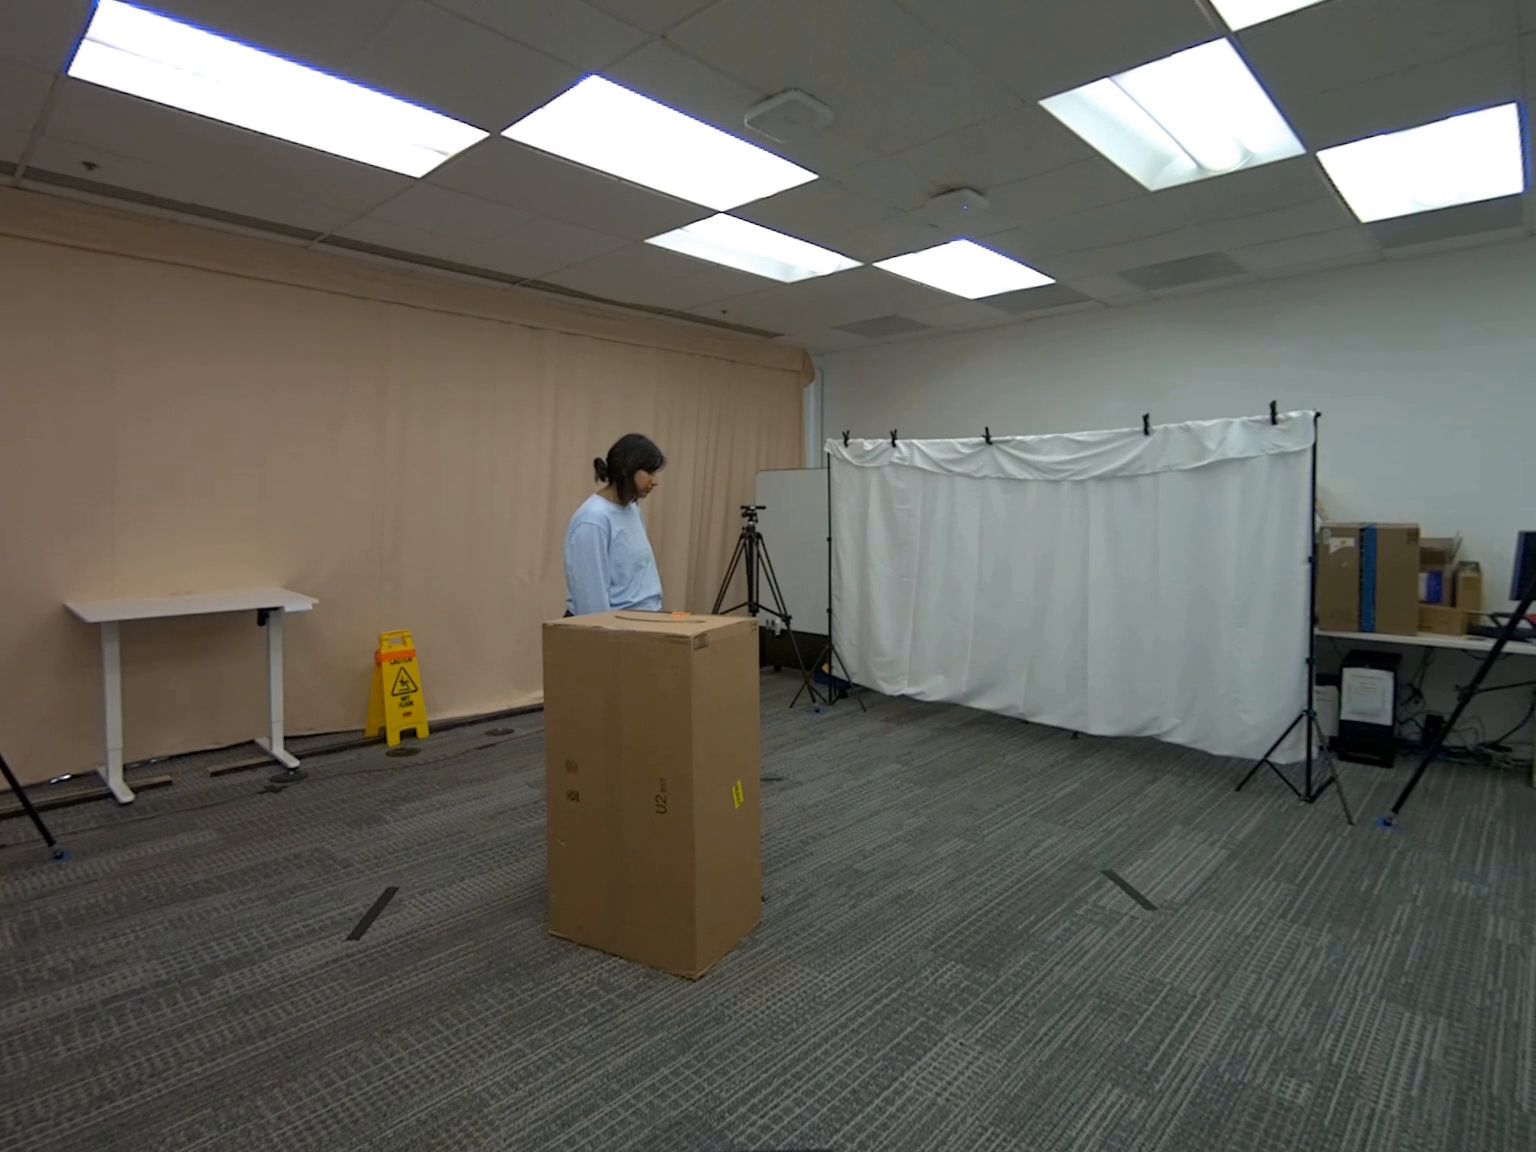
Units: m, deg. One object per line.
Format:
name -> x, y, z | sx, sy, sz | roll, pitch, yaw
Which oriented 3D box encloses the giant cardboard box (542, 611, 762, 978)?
giant cardboard box -> -0.369, 0.658, 2.767 | 0.594, 1.024, 0.415 | 1, 3, 30
